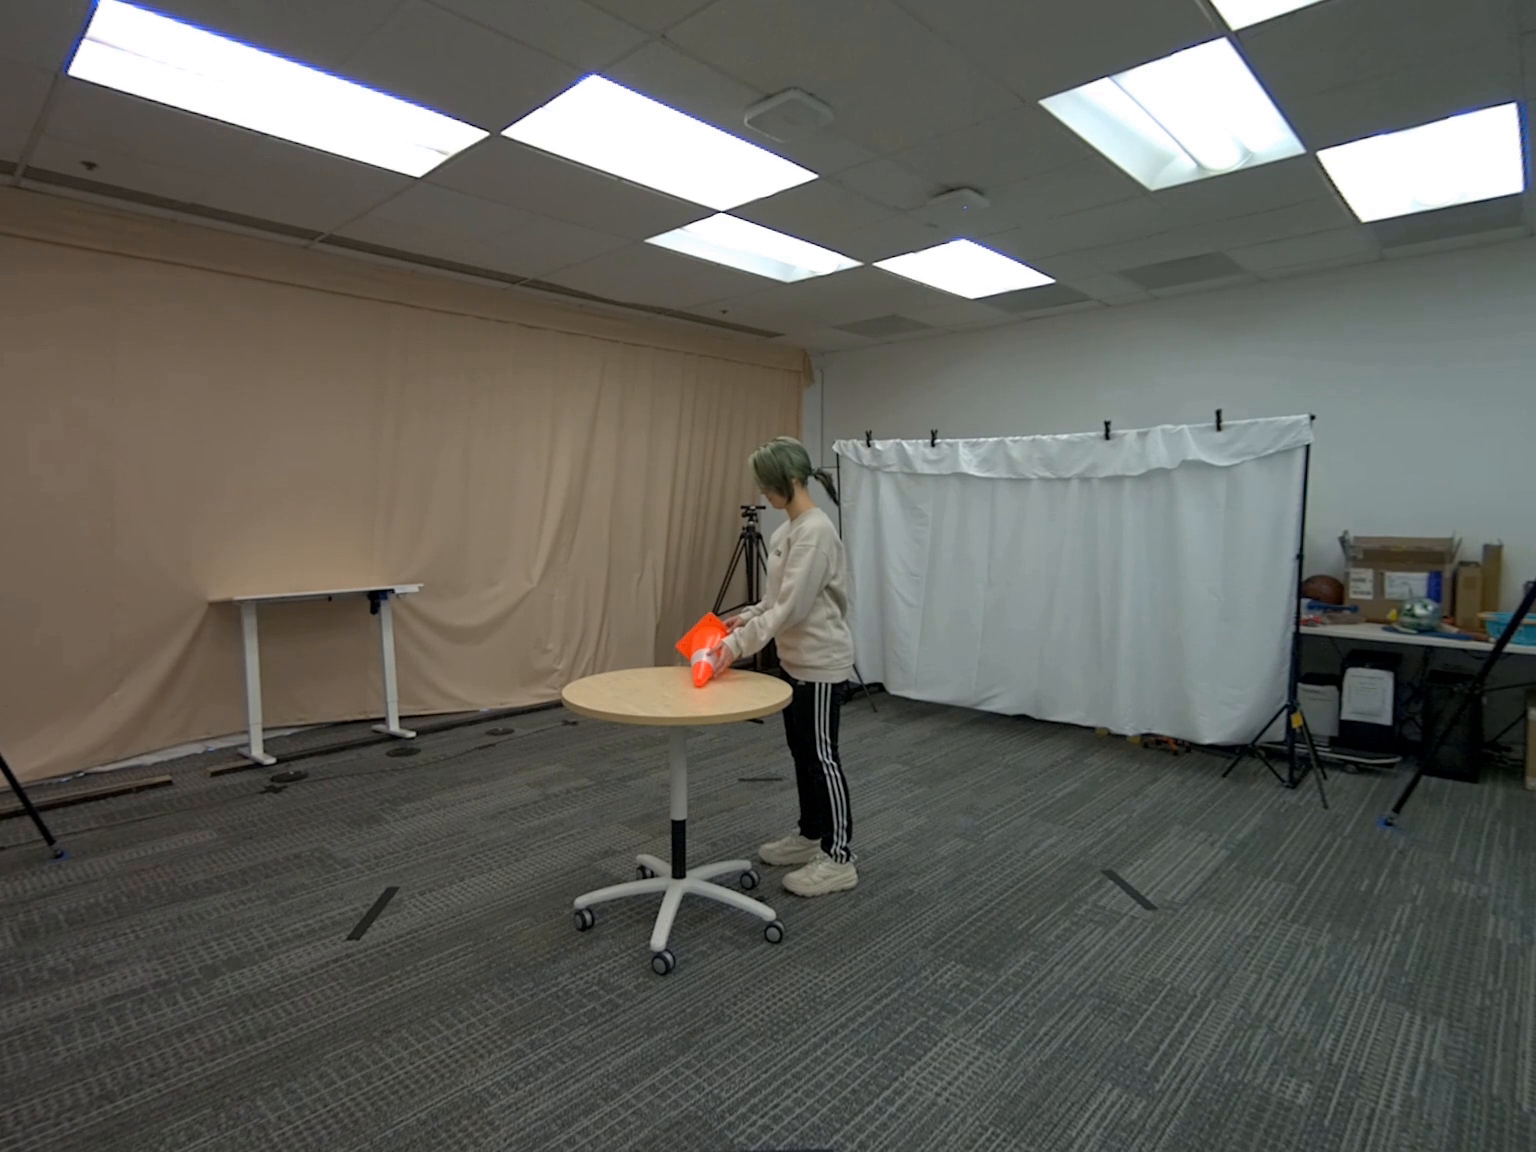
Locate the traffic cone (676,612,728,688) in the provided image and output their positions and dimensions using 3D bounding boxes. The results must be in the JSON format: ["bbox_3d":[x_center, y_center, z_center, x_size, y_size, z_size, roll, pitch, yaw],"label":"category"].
[{"bbox_3d":[-0.224,0.317,3.004,0.204,0.203,0.385,-42,8,11],"label":"traffic cone"}]
